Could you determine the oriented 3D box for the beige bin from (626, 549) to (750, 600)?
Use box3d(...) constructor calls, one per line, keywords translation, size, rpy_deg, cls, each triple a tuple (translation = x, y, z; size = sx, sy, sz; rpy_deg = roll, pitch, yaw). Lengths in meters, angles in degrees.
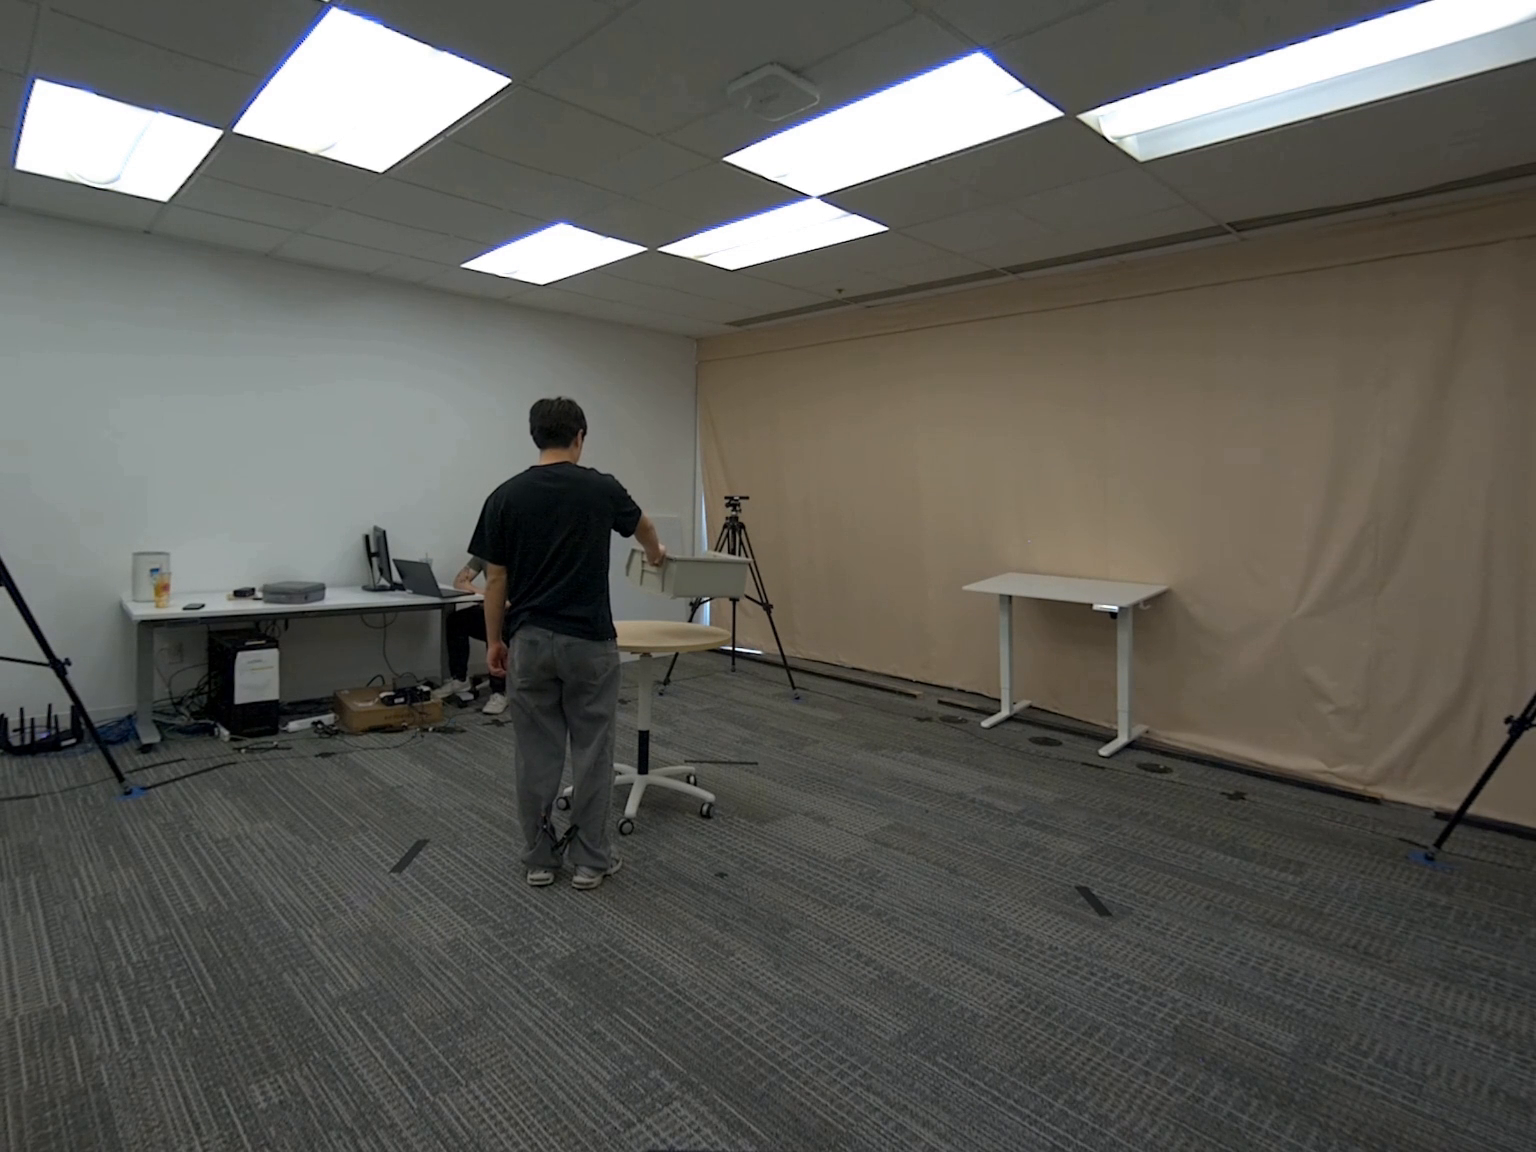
box3d(translation=(-0.356, -0.015, 3.714), size=(0.412, 0.188, 0.388), rpy_deg=(3, 7, -38), cls="beige bin")
